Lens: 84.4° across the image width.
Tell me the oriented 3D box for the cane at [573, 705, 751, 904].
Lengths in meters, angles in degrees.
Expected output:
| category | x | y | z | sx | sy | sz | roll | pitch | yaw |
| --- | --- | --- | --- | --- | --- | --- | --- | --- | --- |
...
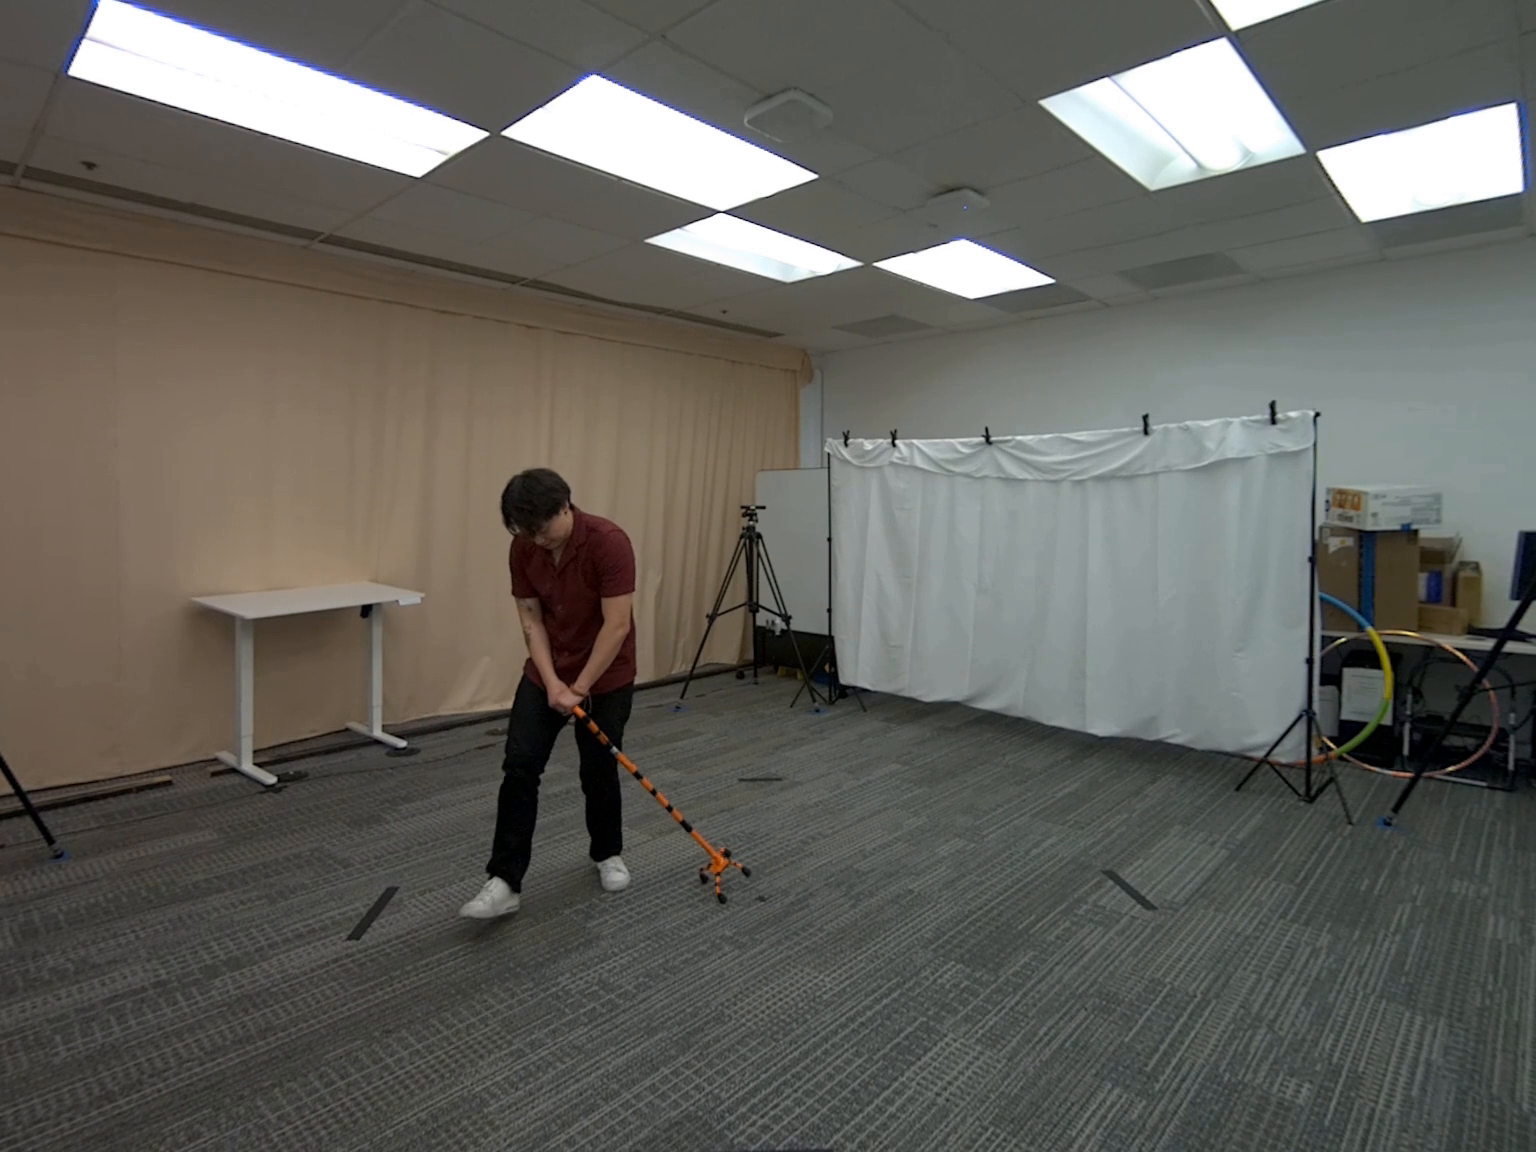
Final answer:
| category | x | y | z | sx | sy | sz | roll | pitch | yaw |
| --- | --- | --- | --- | --- | --- | --- | --- | --- | --- |
| cane | -0.411 | 0.774 | 2.913 | 0.151 | 0.888 | 0.212 | -46 | 21 | -16 |
